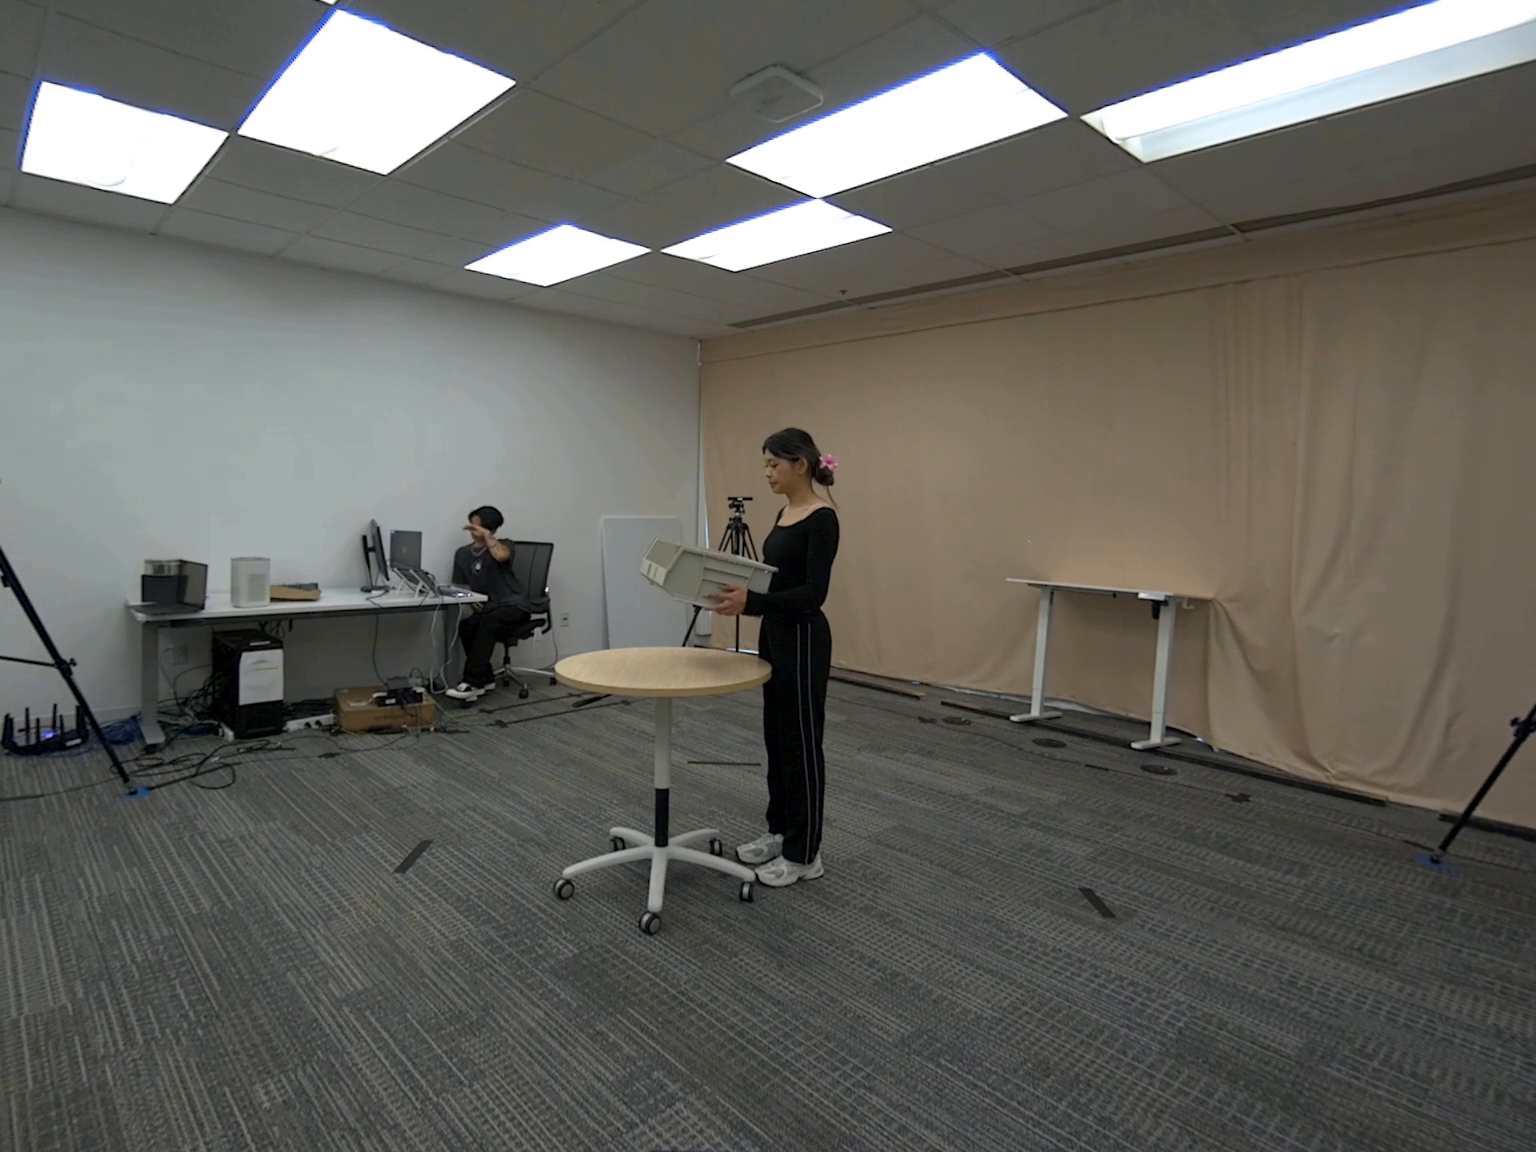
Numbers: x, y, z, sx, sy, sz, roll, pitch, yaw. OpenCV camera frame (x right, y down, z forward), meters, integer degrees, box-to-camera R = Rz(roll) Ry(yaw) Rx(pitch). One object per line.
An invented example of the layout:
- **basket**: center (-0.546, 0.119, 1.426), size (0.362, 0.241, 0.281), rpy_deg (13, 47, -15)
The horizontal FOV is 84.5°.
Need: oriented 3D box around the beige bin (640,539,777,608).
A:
- **beige bin**: center (-0.240, -0.003, 2.980), size (0.370, 0.189, 0.430), rpy_deg (14, 2, -21)
